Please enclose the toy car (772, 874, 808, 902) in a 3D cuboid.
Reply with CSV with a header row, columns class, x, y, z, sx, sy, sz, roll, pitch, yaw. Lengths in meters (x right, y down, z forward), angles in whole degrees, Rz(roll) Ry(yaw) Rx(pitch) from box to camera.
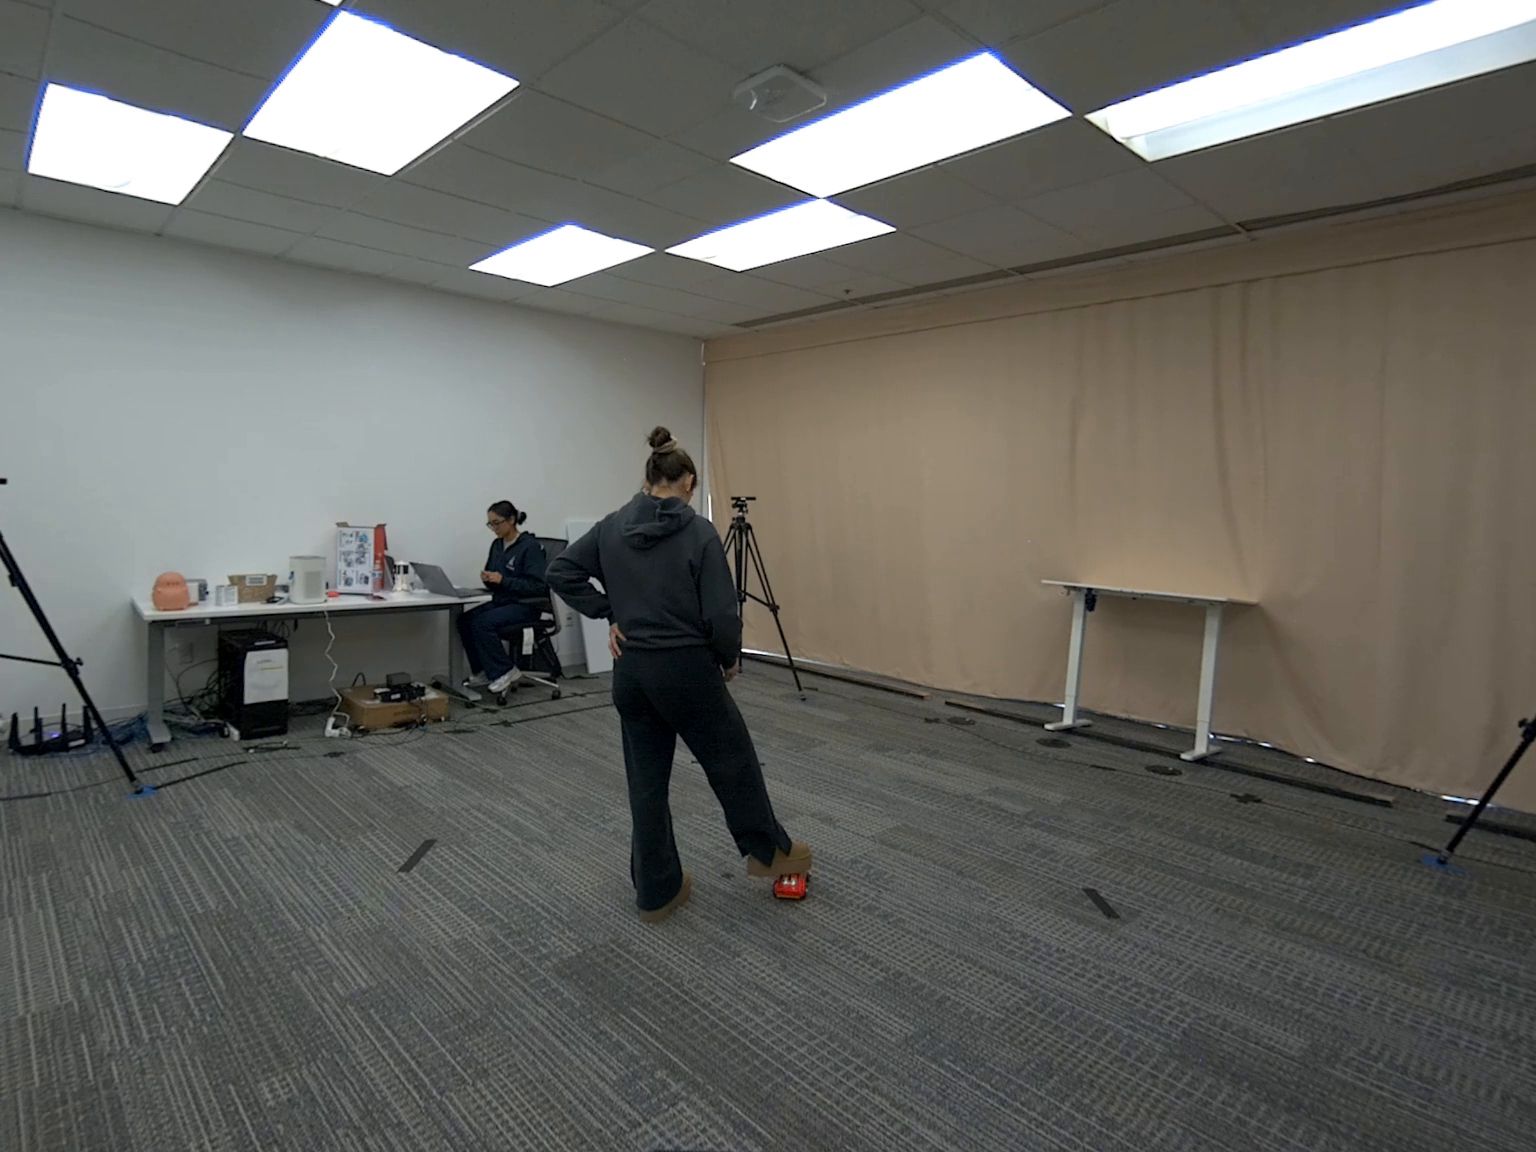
class,x,y,z,sx,sy,sz,roll,pitch,yaw
toy car,0.074,1.090,3.009,0.131,0.083,0.251,1,-6,8
